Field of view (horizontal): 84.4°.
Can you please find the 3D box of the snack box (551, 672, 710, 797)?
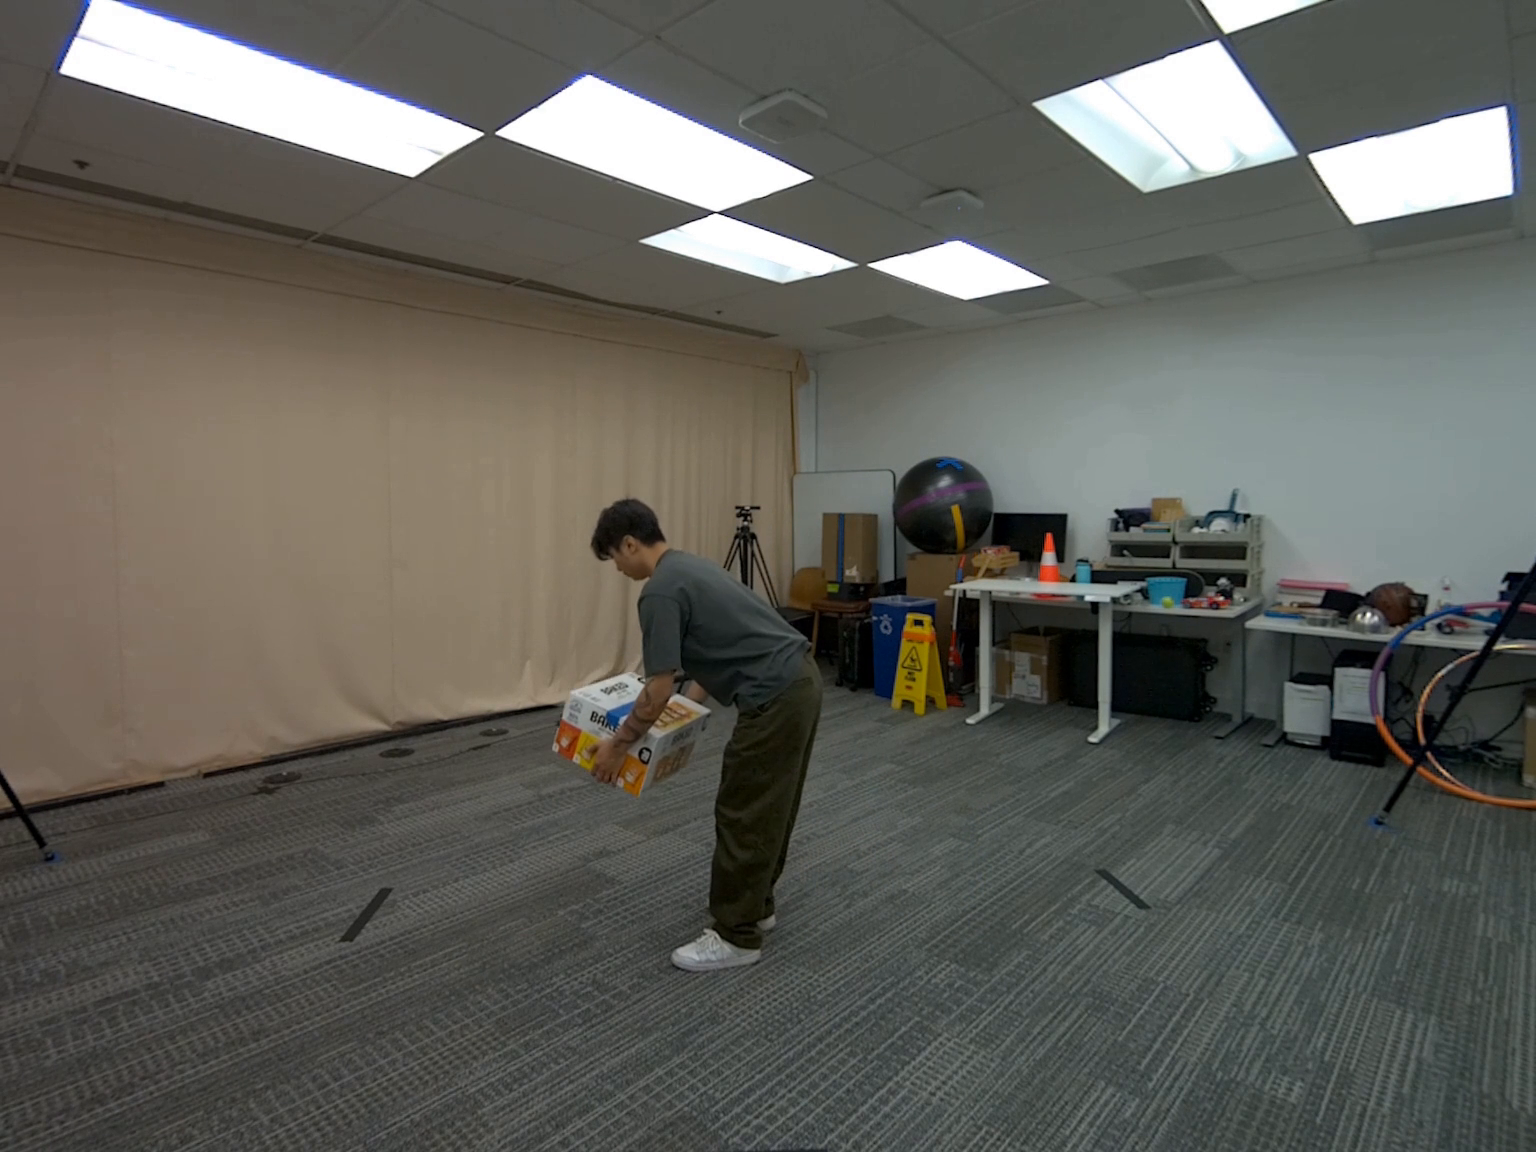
[{"bbox_3d":[-0.442,0.512,2.786,0.349,0.205,0.396,22,11,19],"label":"snack box"}]
